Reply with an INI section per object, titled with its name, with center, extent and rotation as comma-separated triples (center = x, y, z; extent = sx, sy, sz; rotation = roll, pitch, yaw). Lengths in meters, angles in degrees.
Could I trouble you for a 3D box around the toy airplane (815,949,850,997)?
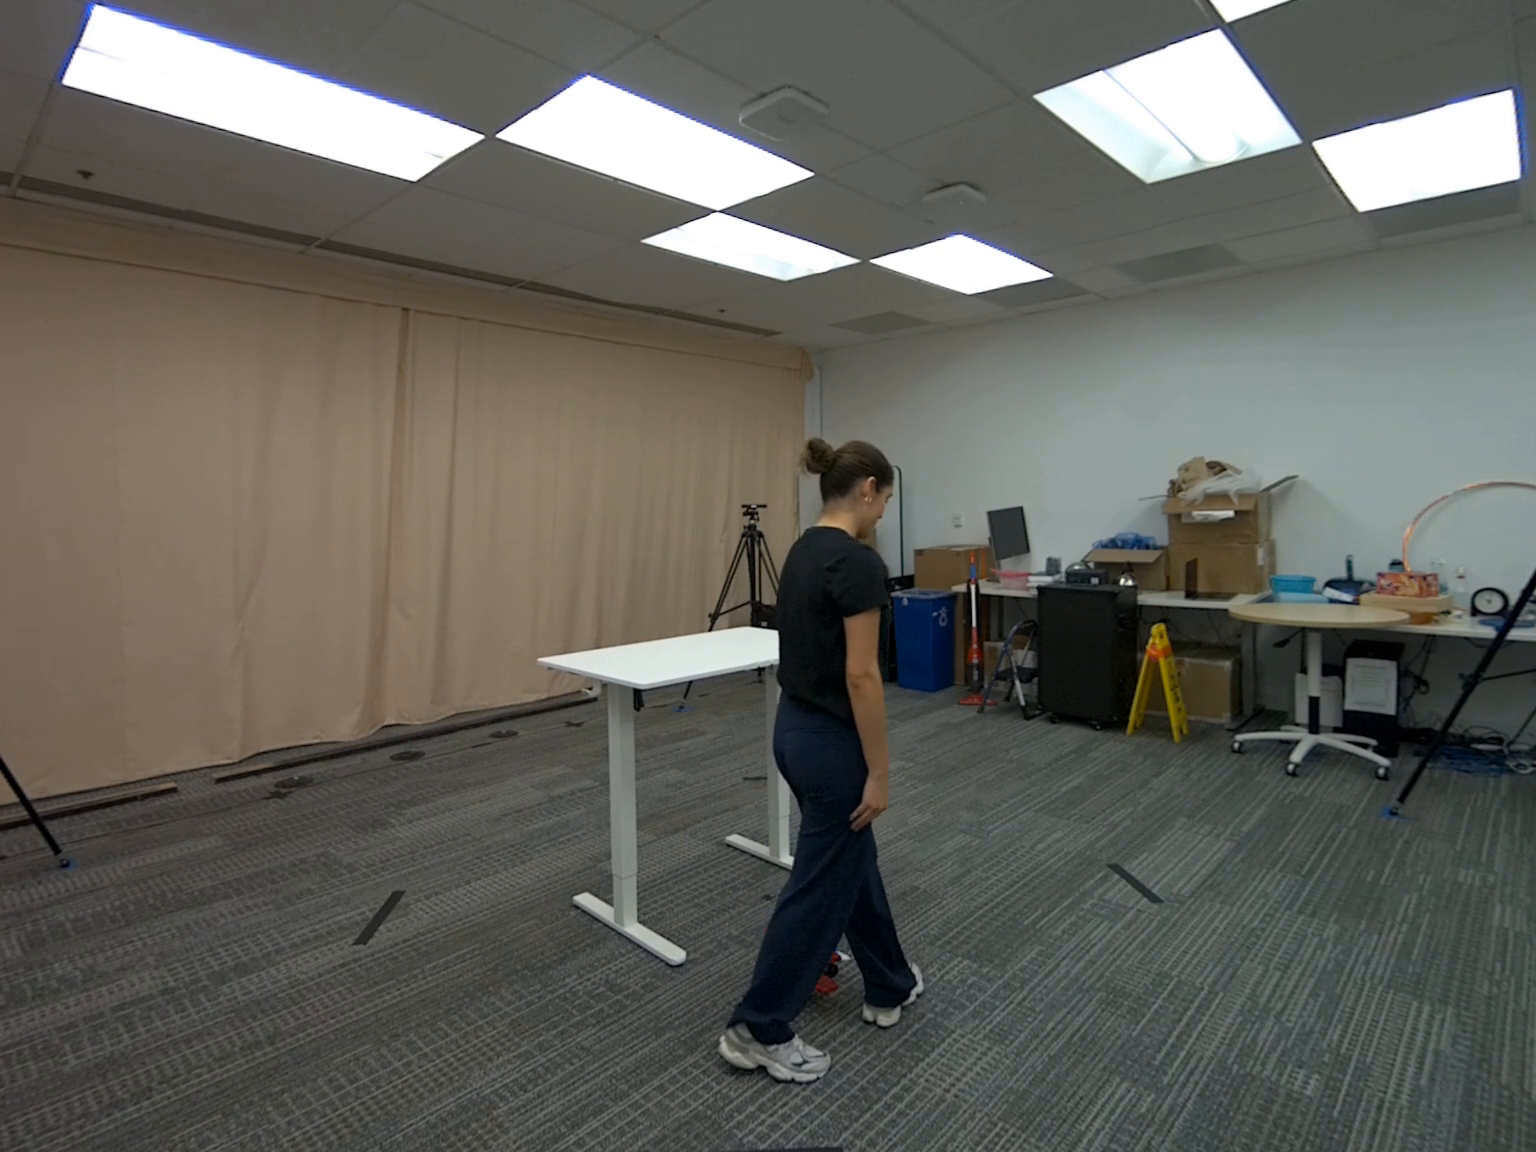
[toy airplane]
center = 0.125, 1.108, 2.437
extent = 0.255, 0.156, 0.256
rotation = 0, 6, 15
